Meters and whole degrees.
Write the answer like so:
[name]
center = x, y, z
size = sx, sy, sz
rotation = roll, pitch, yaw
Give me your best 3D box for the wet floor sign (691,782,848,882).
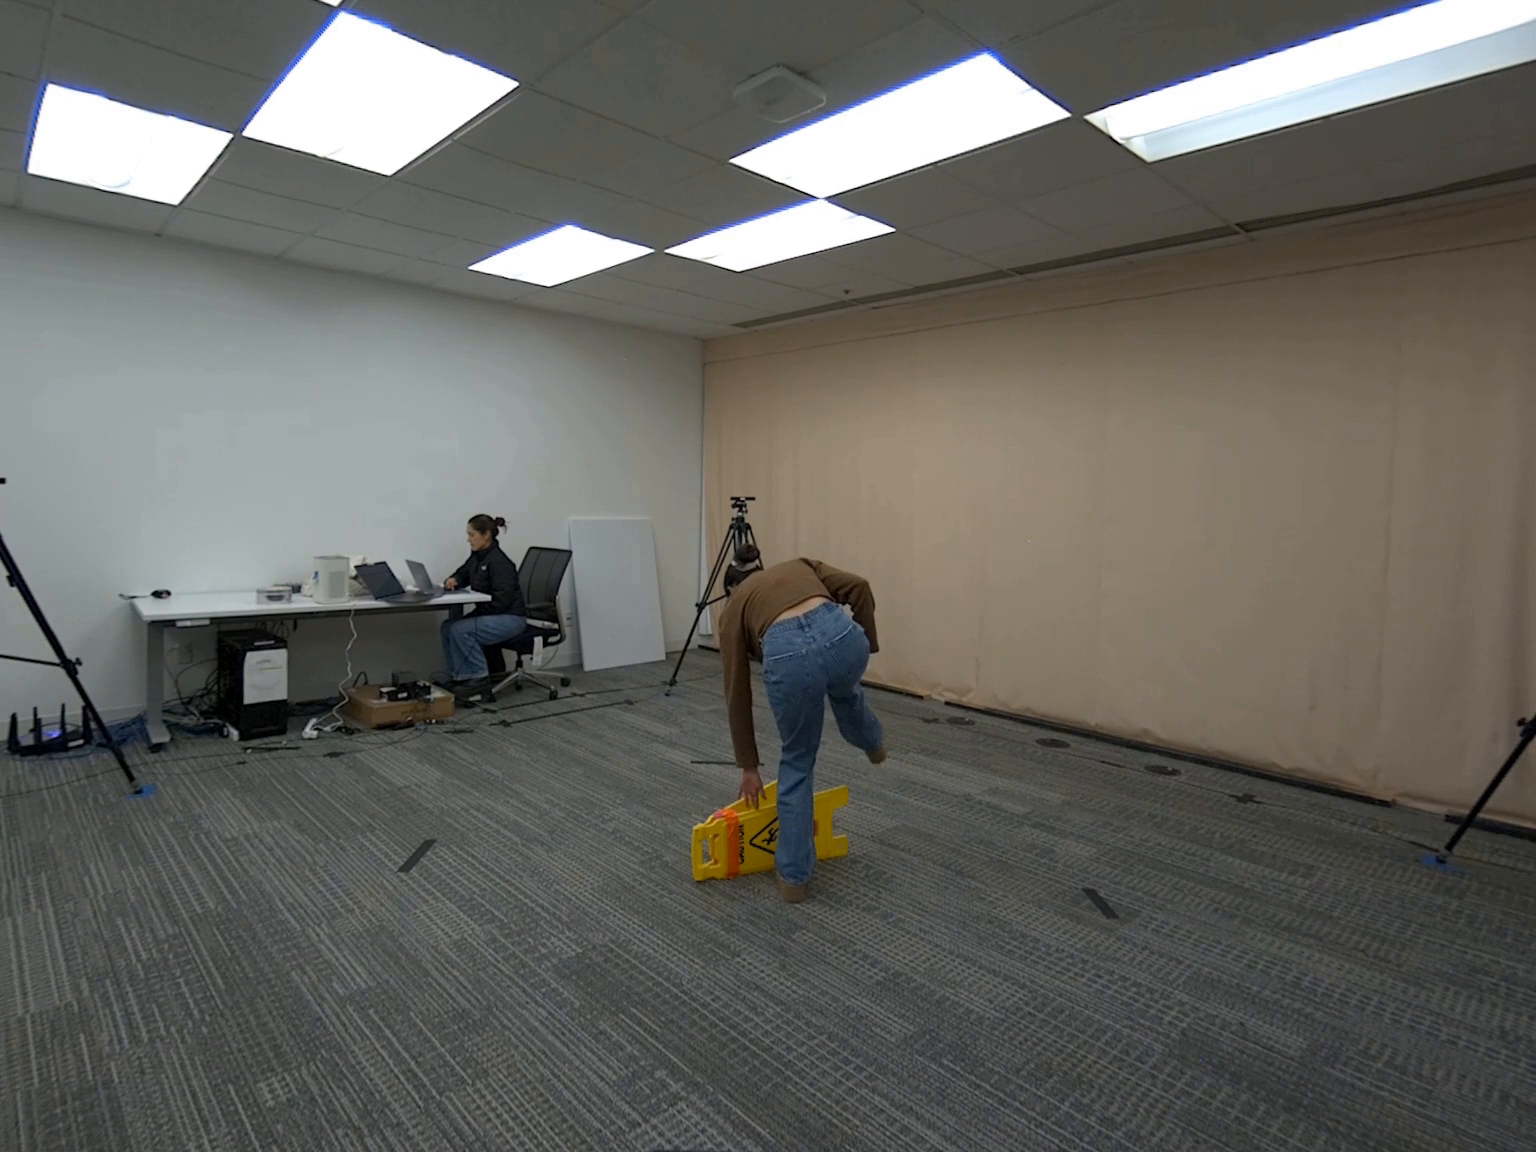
[wet floor sign]
center = -0.020, 0.974, 3.220
size = 0.632, 0.281, 0.297
rotation = -6, 7, -38
